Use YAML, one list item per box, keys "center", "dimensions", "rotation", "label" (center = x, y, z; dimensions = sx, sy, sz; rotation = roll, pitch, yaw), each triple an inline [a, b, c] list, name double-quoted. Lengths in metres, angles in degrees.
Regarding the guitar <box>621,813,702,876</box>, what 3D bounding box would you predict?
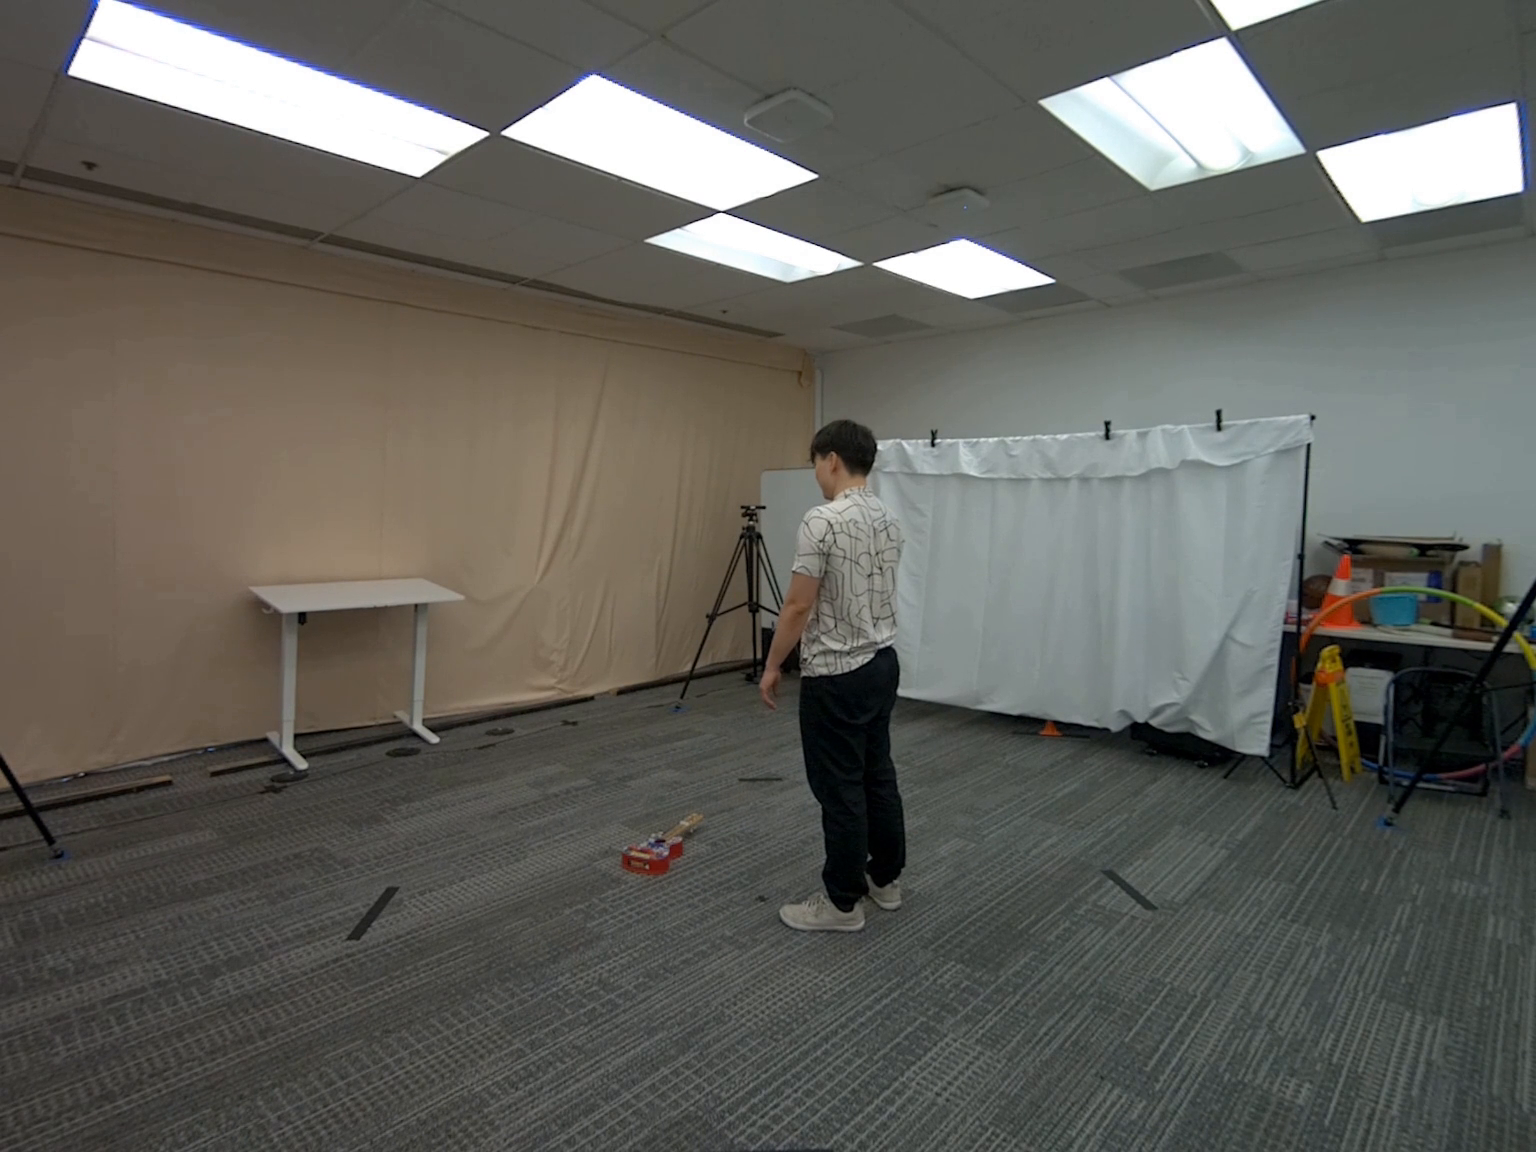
- center: [-0.375, 1.079, 3.402]
  dimensions: [0.199, 0.070, 0.484]
  rotation: [2, 6, 34]
  label: "guitar"
